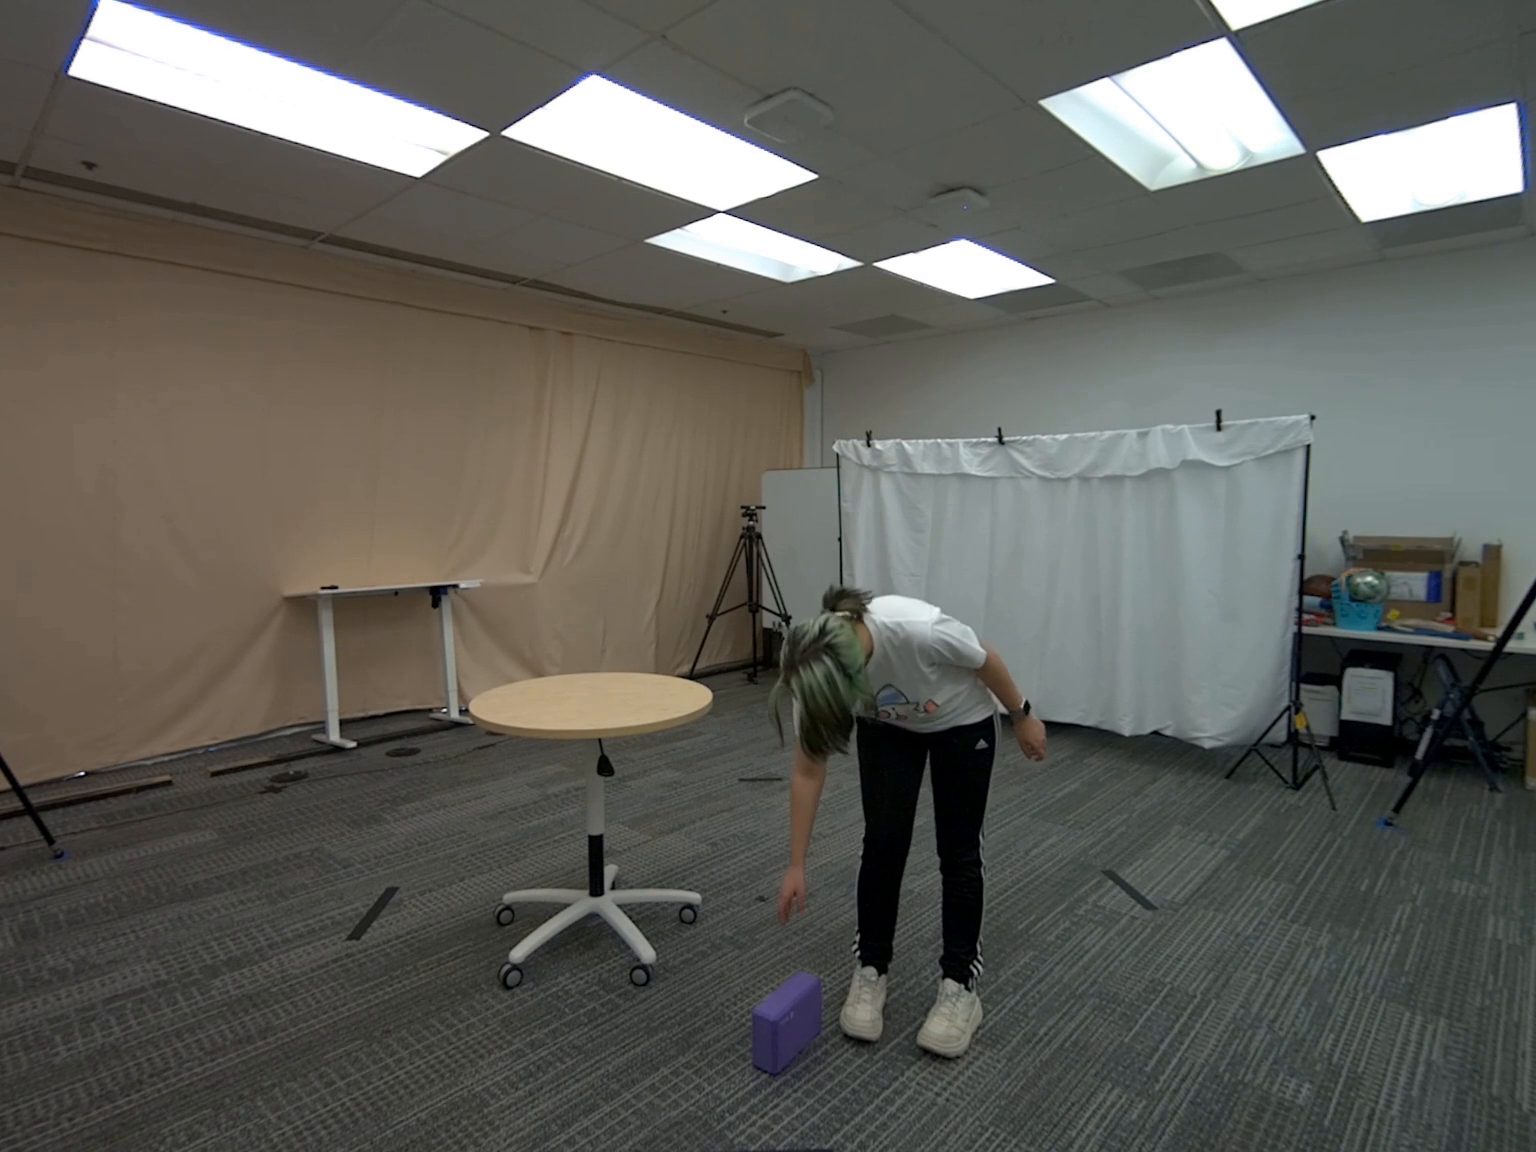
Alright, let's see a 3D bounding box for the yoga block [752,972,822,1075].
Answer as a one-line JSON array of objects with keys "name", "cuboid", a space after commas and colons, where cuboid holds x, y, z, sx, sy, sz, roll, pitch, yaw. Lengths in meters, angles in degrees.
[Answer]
[{"name": "yoga block", "cuboid": [0.057, 1.140, 2.151, 0.079, 0.148, 0.223, 1, 5, 35]}]
